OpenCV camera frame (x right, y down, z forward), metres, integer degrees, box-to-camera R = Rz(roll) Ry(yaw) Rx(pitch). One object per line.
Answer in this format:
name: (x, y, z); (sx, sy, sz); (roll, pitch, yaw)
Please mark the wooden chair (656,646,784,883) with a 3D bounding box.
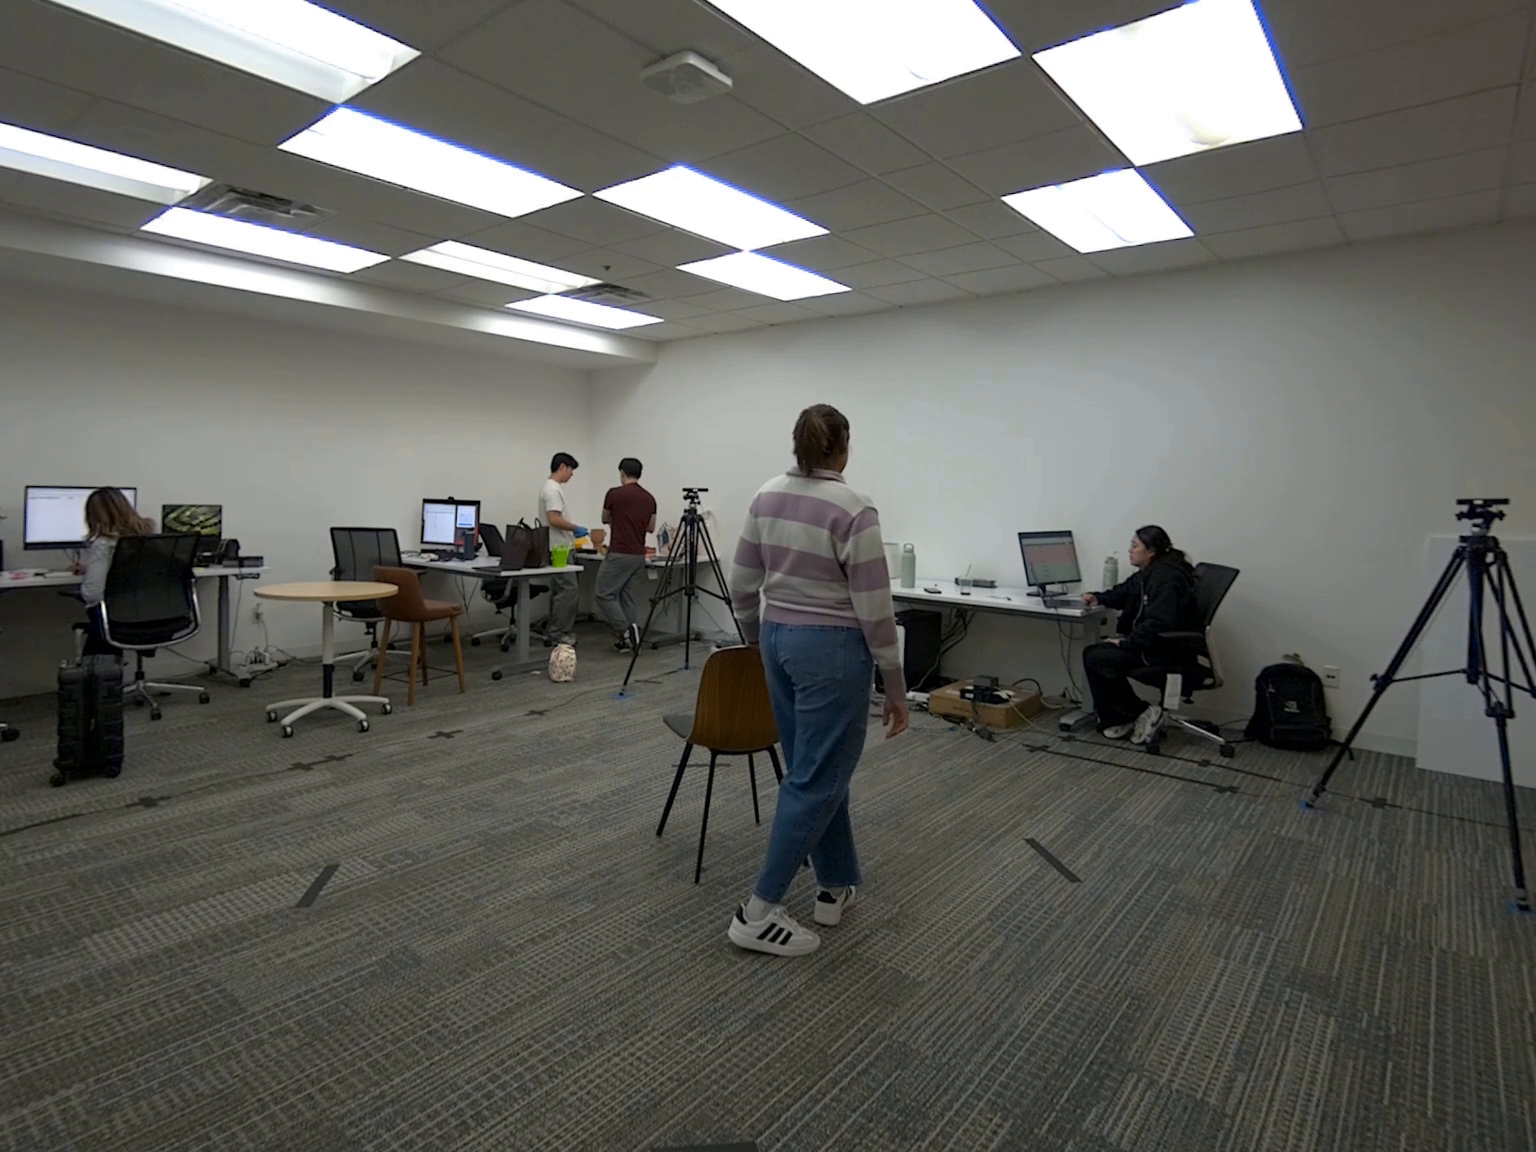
wooden chair: (-0.153, 0.628, 3.260); (0.467, 0.872, 0.538); (0, 8, -24)
